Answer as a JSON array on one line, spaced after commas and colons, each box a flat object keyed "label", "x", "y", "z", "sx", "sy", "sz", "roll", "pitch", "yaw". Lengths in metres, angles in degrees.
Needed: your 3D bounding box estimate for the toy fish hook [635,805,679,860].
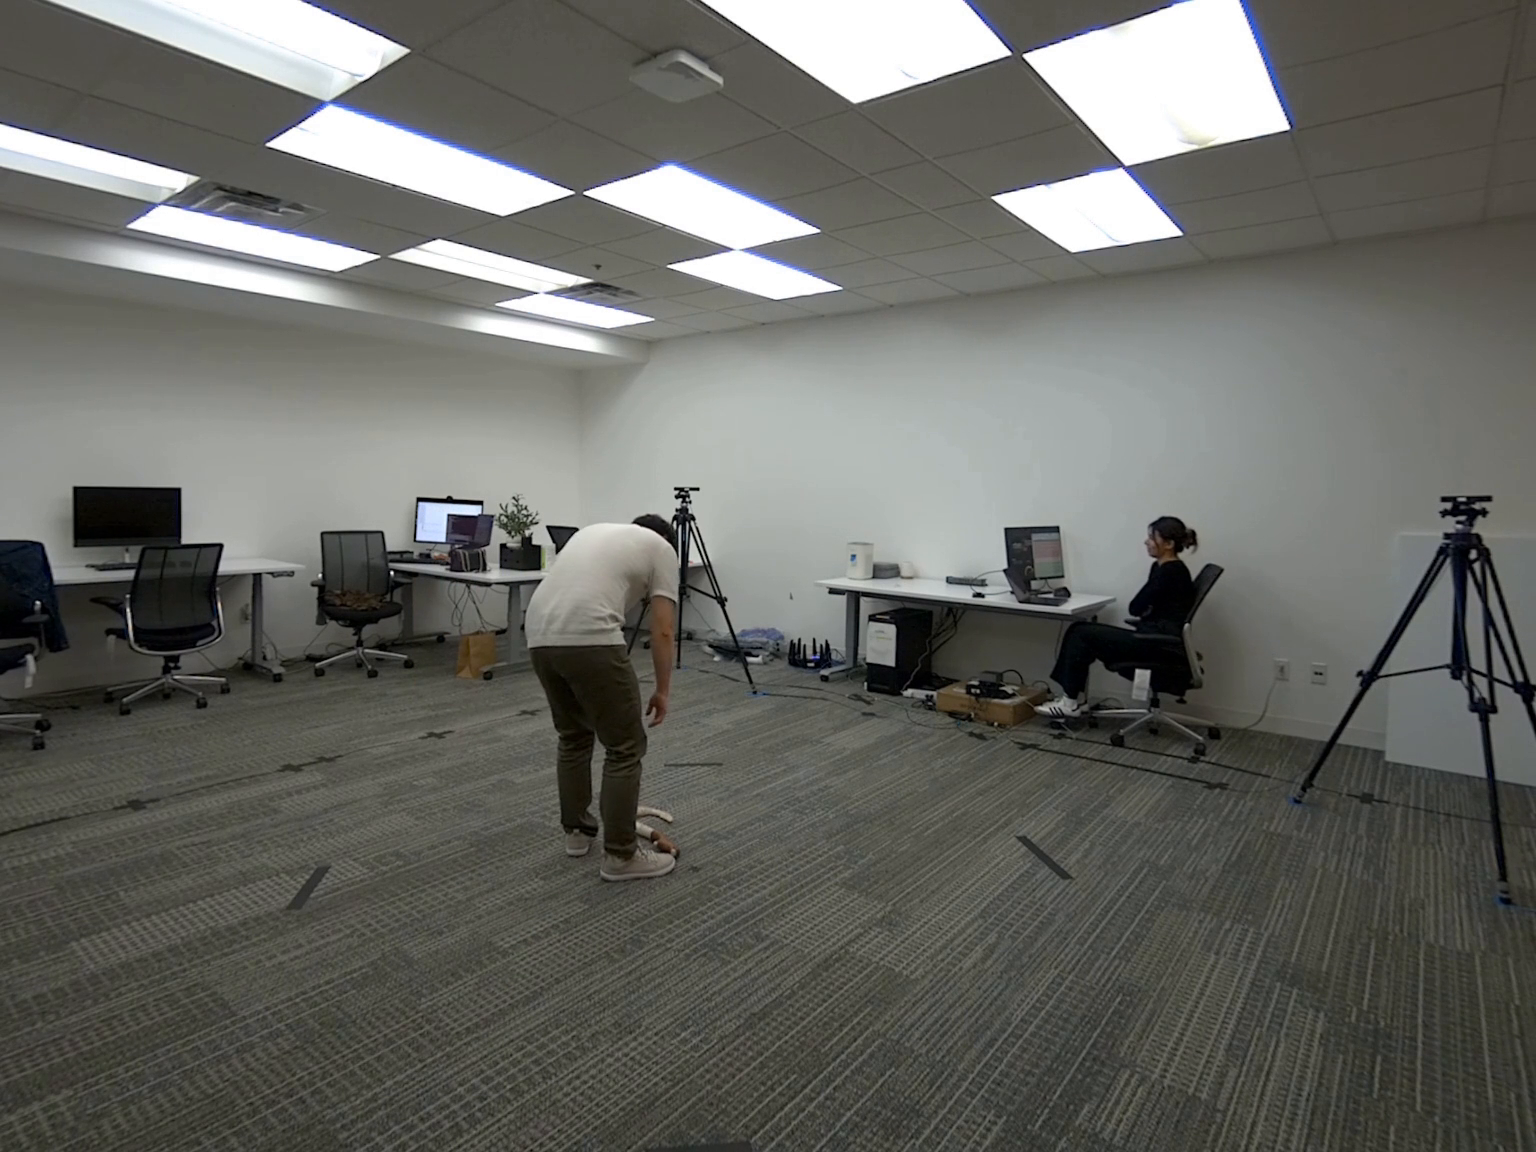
[{"label": "toy fish hook", "x": -0.452, "y": 1.009, "z": 3.411, "sx": 0.218, "sy": 0.048, "sz": 0.523, "roll": -4, "pitch": 8, "yaw": -32}]
